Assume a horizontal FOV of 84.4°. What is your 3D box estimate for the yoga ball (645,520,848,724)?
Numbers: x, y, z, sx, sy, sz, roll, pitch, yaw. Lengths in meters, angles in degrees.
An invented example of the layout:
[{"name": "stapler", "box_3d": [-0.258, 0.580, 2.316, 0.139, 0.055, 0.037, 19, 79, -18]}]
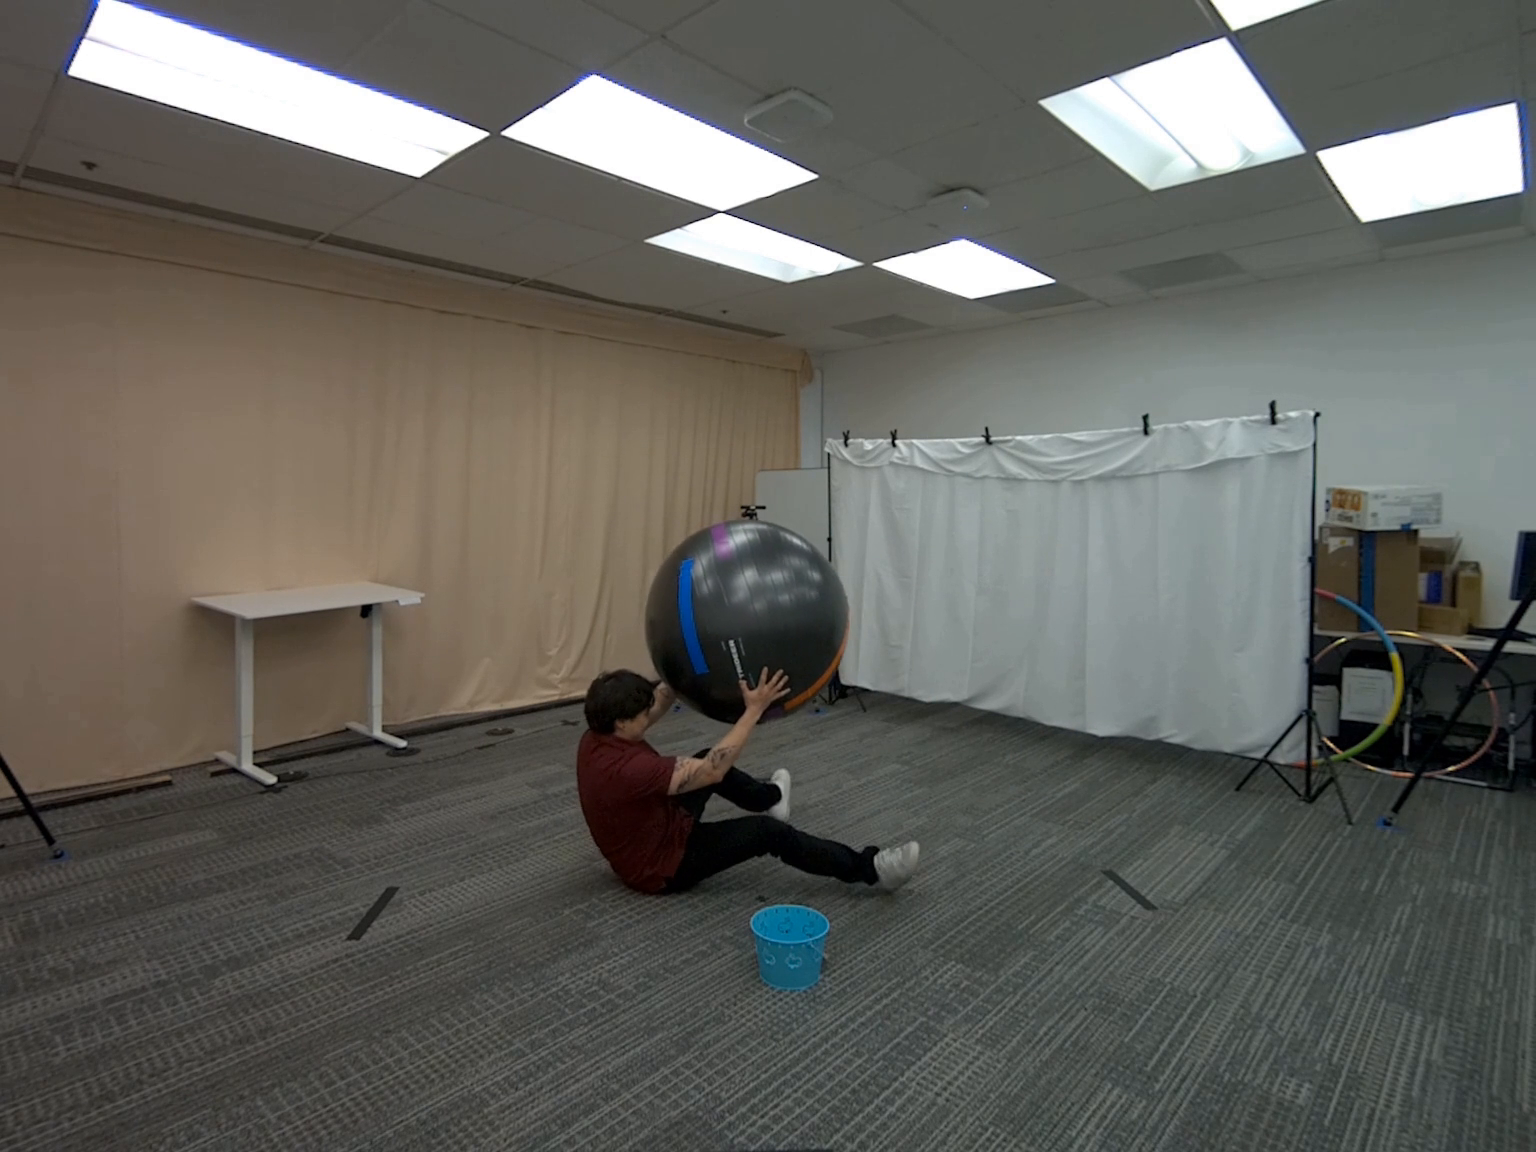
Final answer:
[{"name": "yoga ball", "box_3d": [-0.066, 0.178, 3.150, 0.757, 0.756, 0.760, 0, 4, -2]}]
